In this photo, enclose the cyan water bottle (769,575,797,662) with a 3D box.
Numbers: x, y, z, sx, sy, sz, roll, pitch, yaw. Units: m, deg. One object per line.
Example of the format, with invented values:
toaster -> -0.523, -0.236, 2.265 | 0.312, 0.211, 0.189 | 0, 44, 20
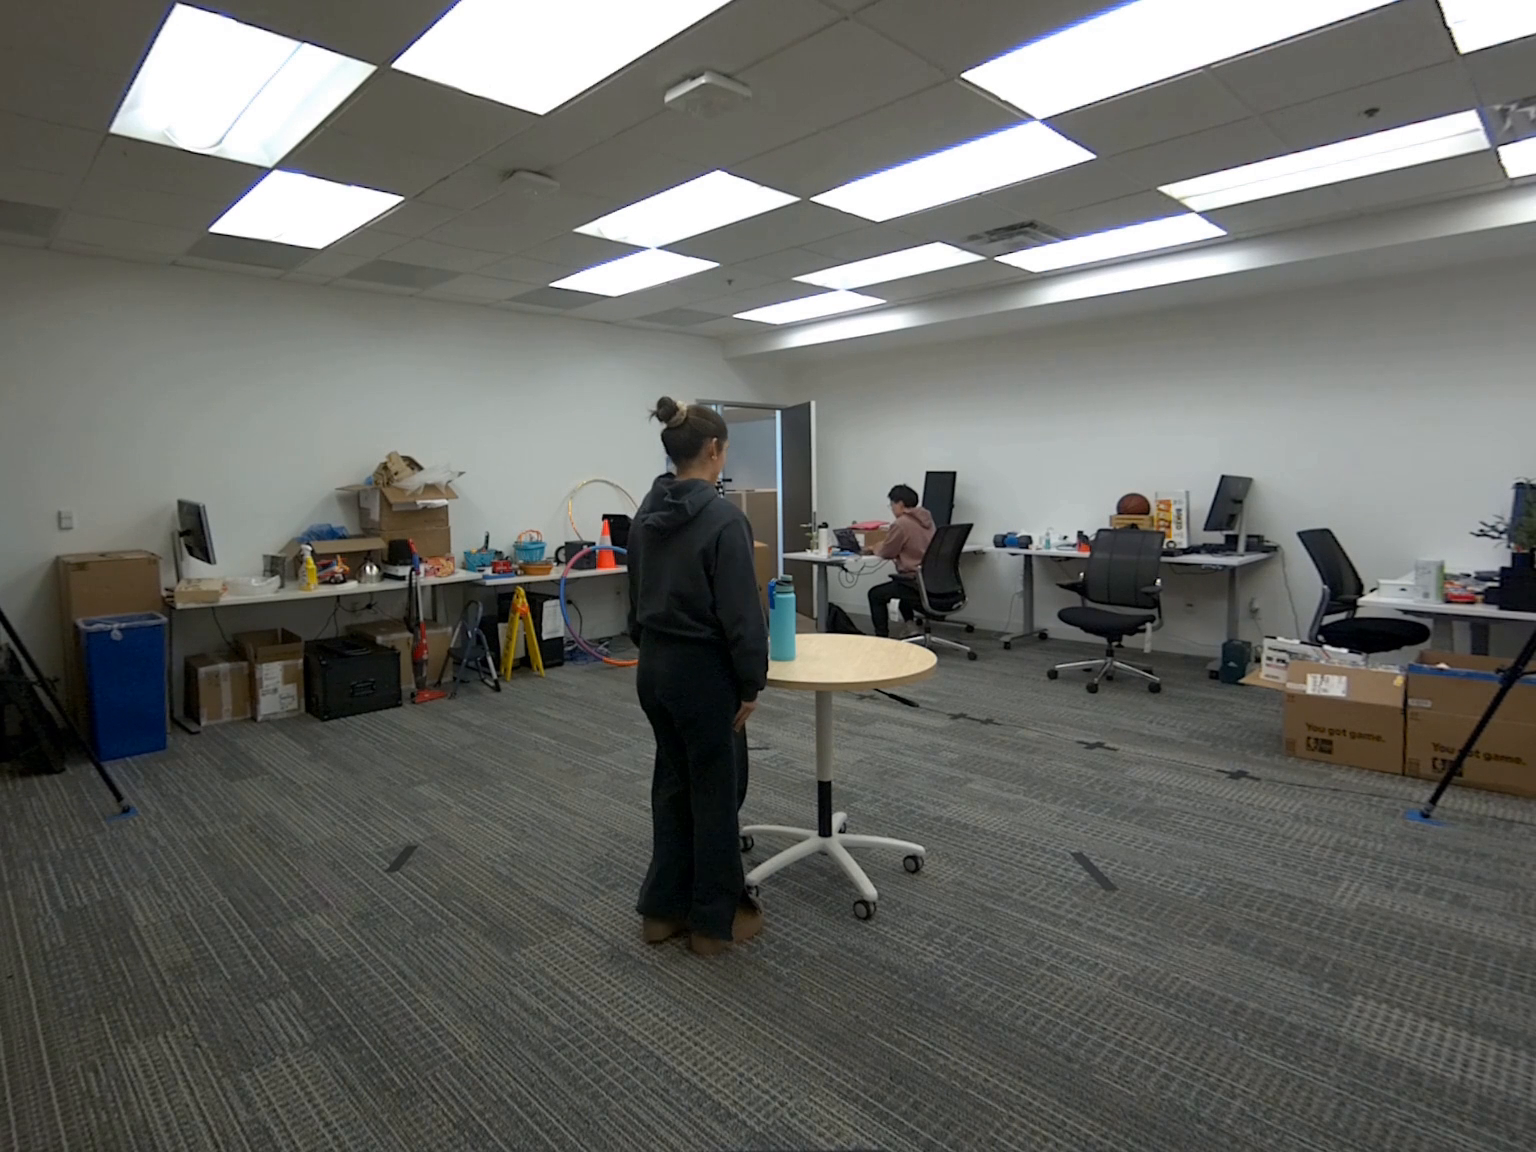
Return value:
cyan water bottle -> 0.047, 0.144, 2.897 | 0.092, 0.282, 0.093 | -3, 4, -1
